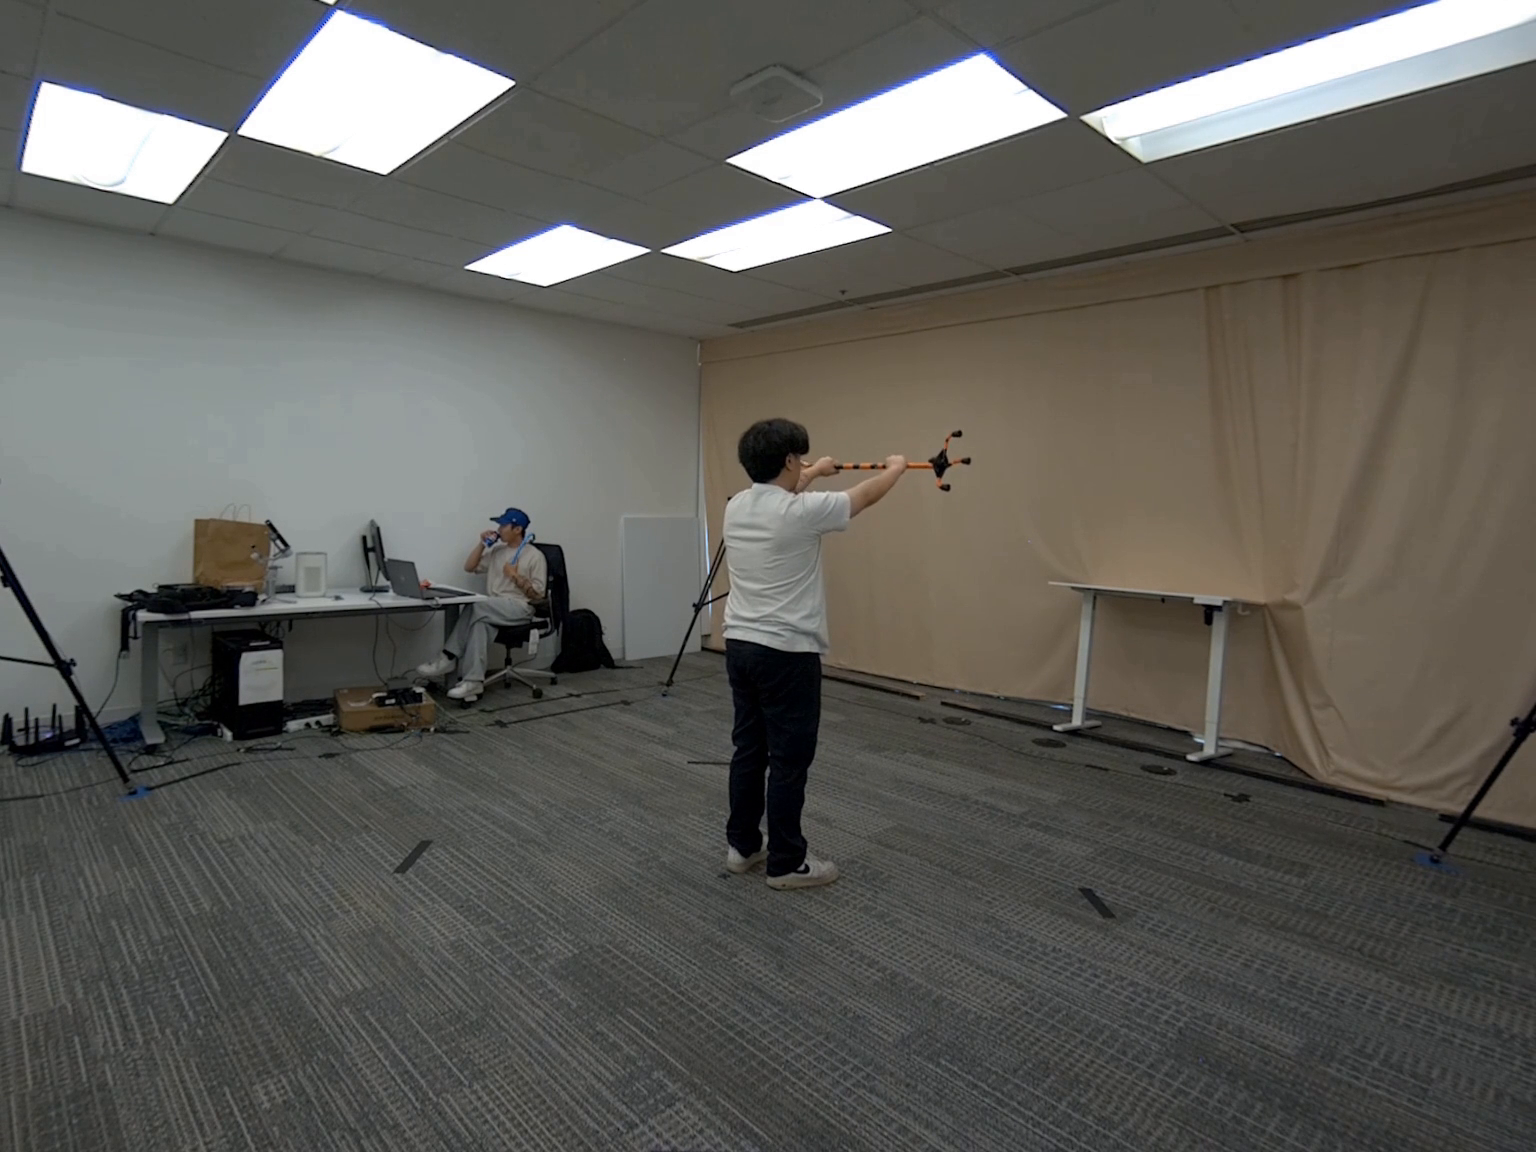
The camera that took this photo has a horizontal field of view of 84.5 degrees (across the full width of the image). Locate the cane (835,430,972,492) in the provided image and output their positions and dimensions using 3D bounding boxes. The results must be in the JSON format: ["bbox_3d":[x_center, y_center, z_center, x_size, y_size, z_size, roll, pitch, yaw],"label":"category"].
[{"bbox_3d":[0.355,-0.465,3.457,0.931,0.148,0.206,6,42,43],"label":"cane"}]
